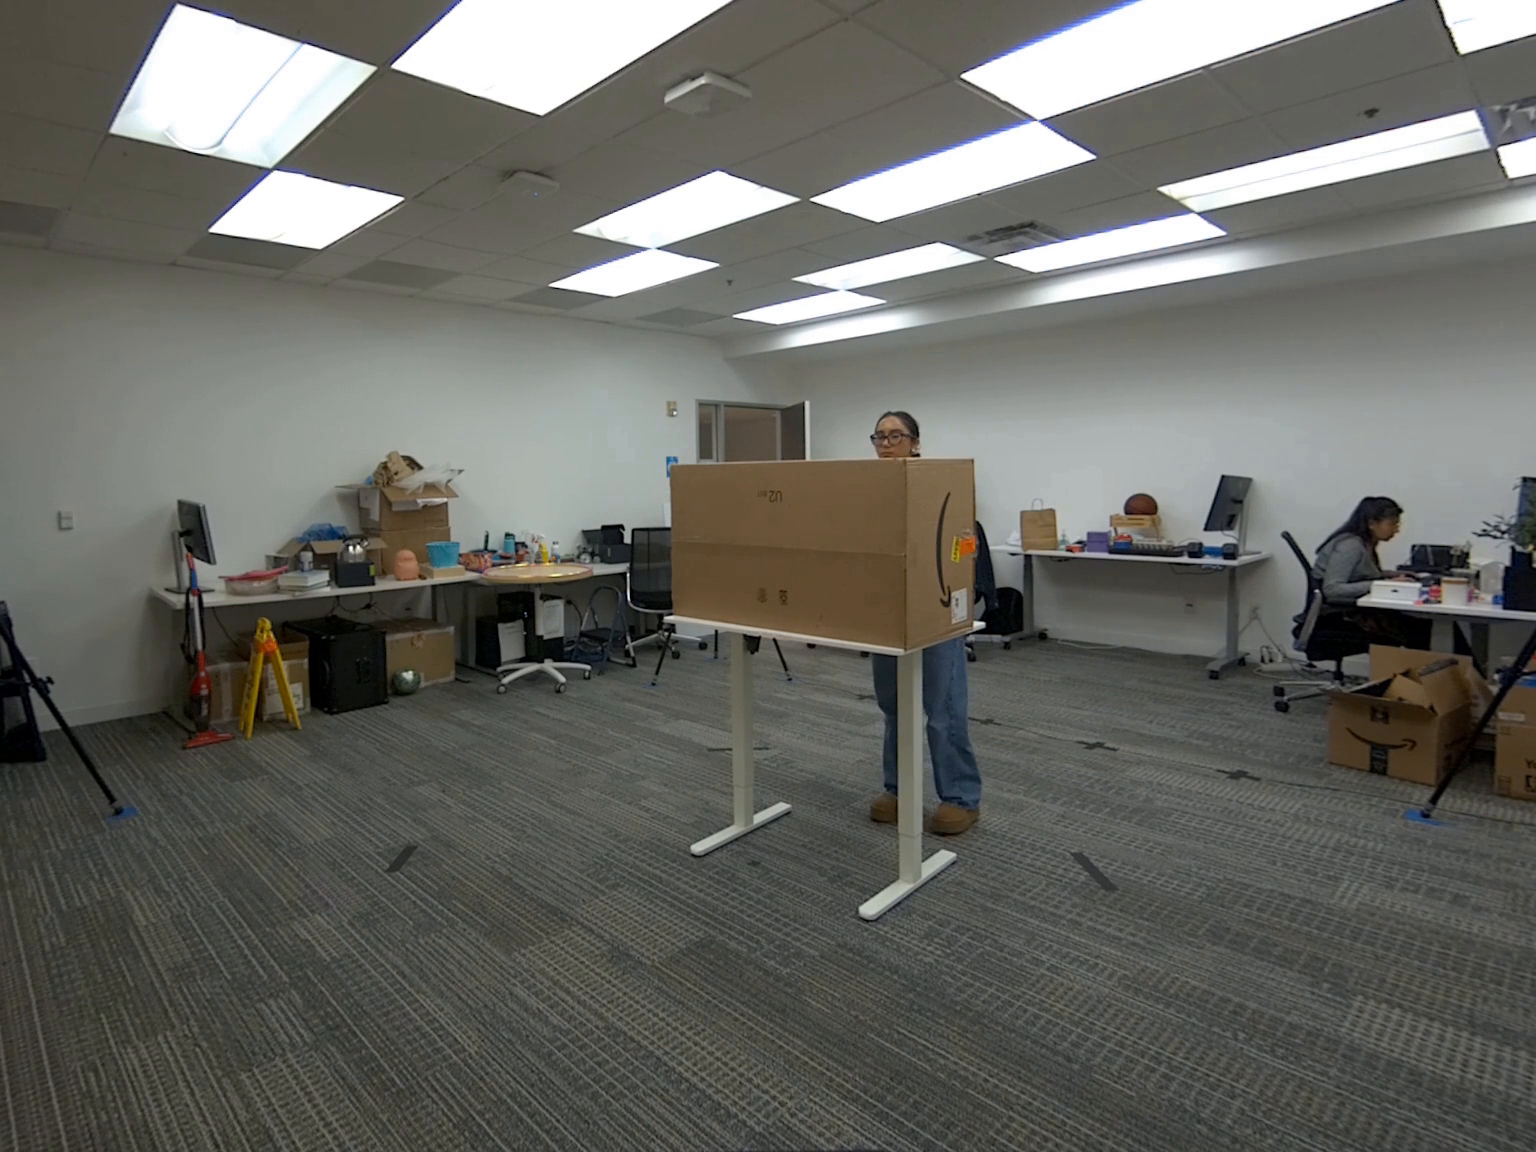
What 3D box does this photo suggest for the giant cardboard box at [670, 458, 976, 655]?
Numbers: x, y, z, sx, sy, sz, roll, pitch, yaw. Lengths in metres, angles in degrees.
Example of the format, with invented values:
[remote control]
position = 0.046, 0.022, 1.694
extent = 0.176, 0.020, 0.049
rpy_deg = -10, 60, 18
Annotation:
[giant cardboard box]
position = 0.159, -0.114, 3.028
extent = 1.058, 0.574, 0.415
rpy_deg = 5, 8, 42
